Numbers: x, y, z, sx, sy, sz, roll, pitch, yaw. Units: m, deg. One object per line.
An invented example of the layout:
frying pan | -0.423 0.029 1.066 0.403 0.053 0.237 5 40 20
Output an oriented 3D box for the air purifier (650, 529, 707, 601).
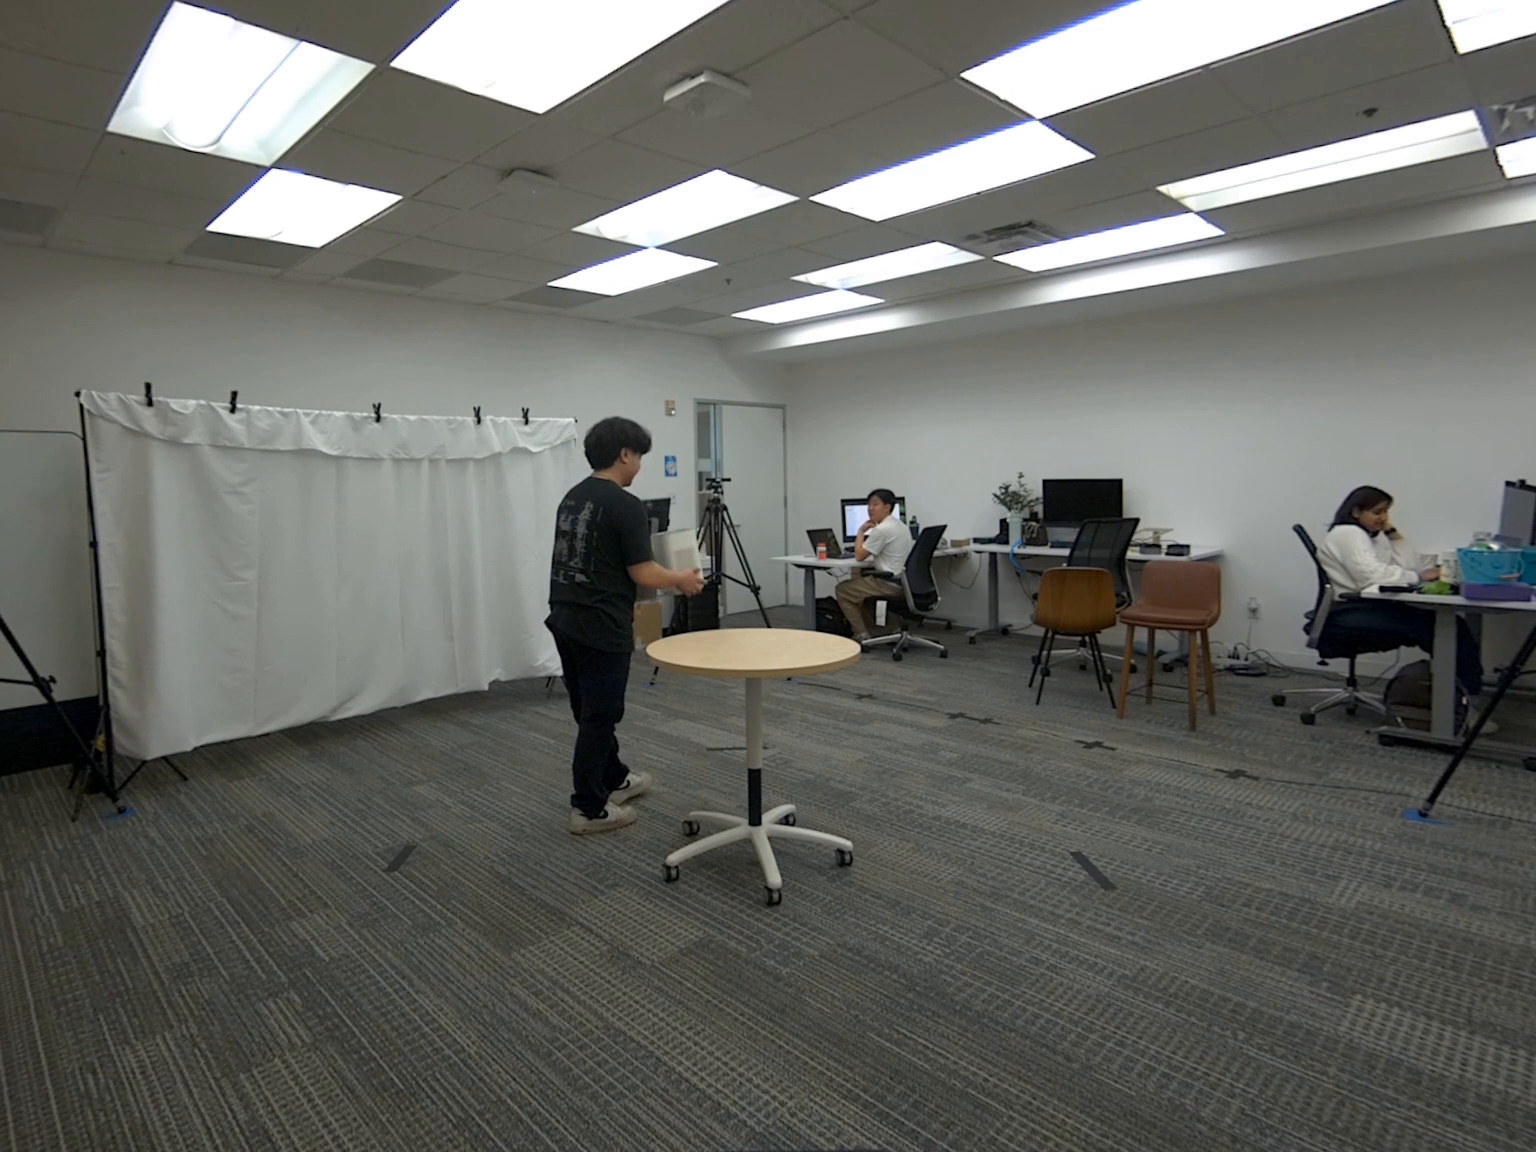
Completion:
air purifier | -0.394 -0.053 3.661 0.169 0.264 0.175 -10 6 -21
